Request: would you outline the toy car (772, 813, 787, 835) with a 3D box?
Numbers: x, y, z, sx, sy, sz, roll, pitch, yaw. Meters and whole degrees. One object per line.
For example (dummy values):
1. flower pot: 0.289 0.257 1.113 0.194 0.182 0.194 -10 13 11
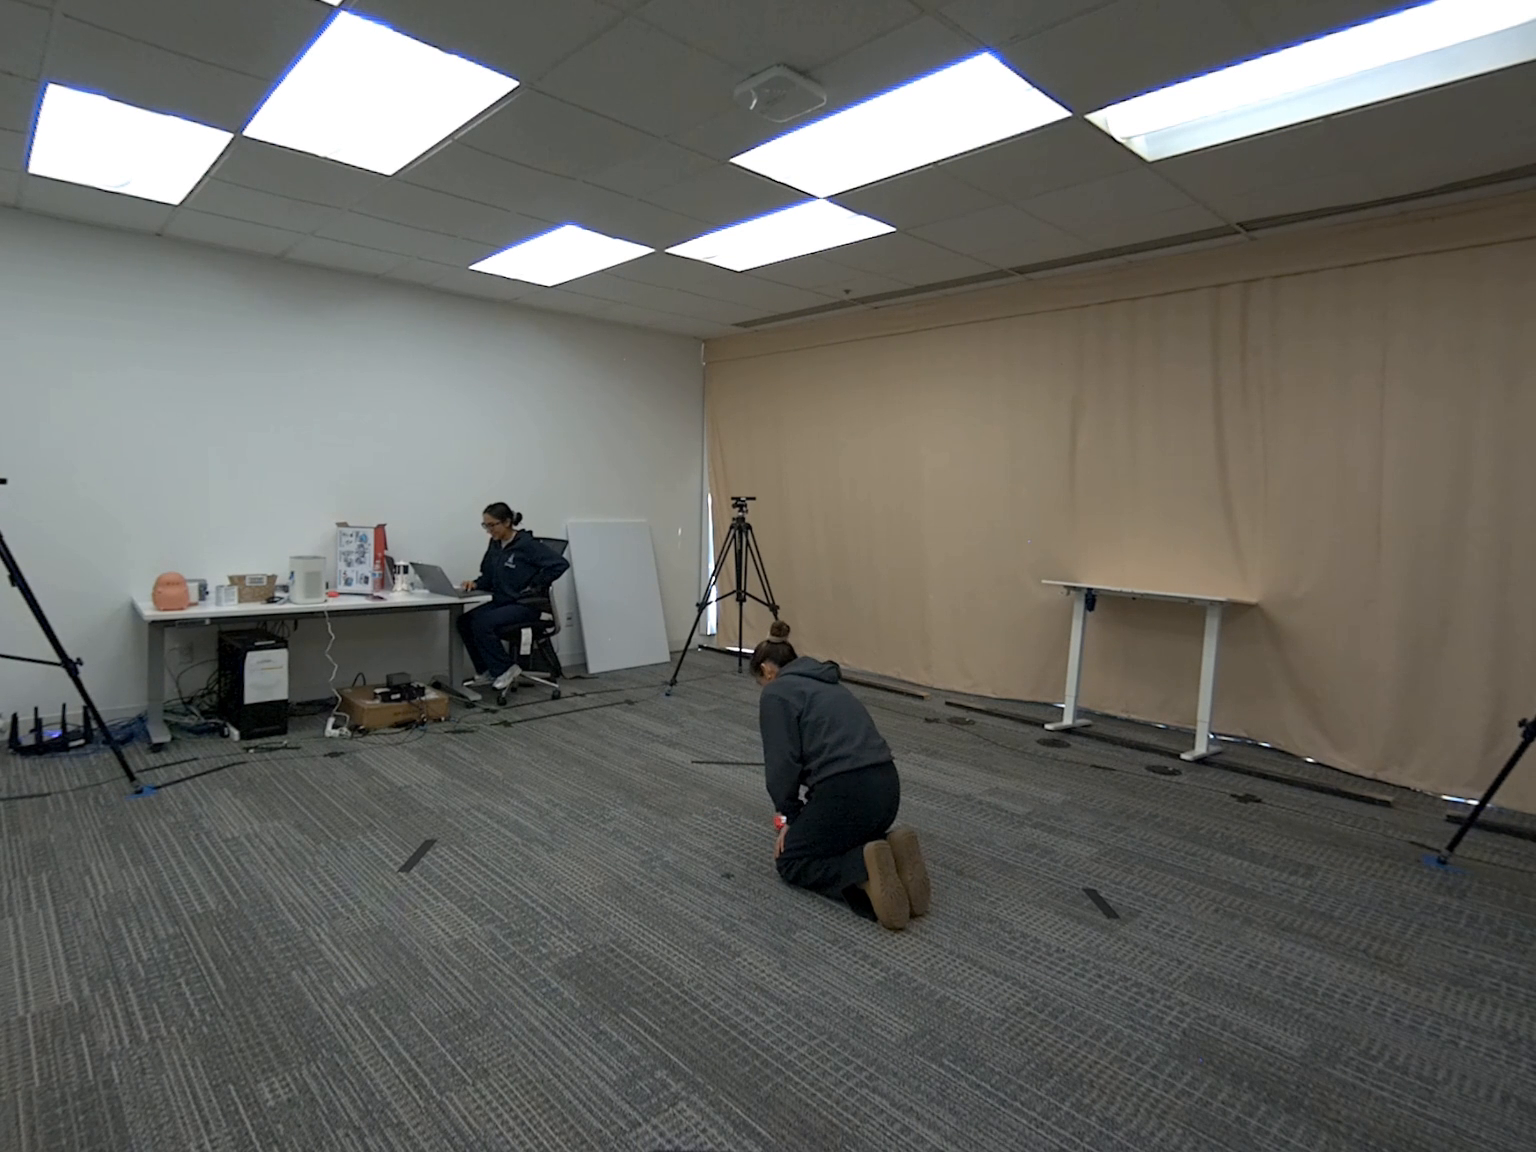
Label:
1. toy car: 0.141 1.043 3.566 0.253 0.083 0.131 -10 6 -8
